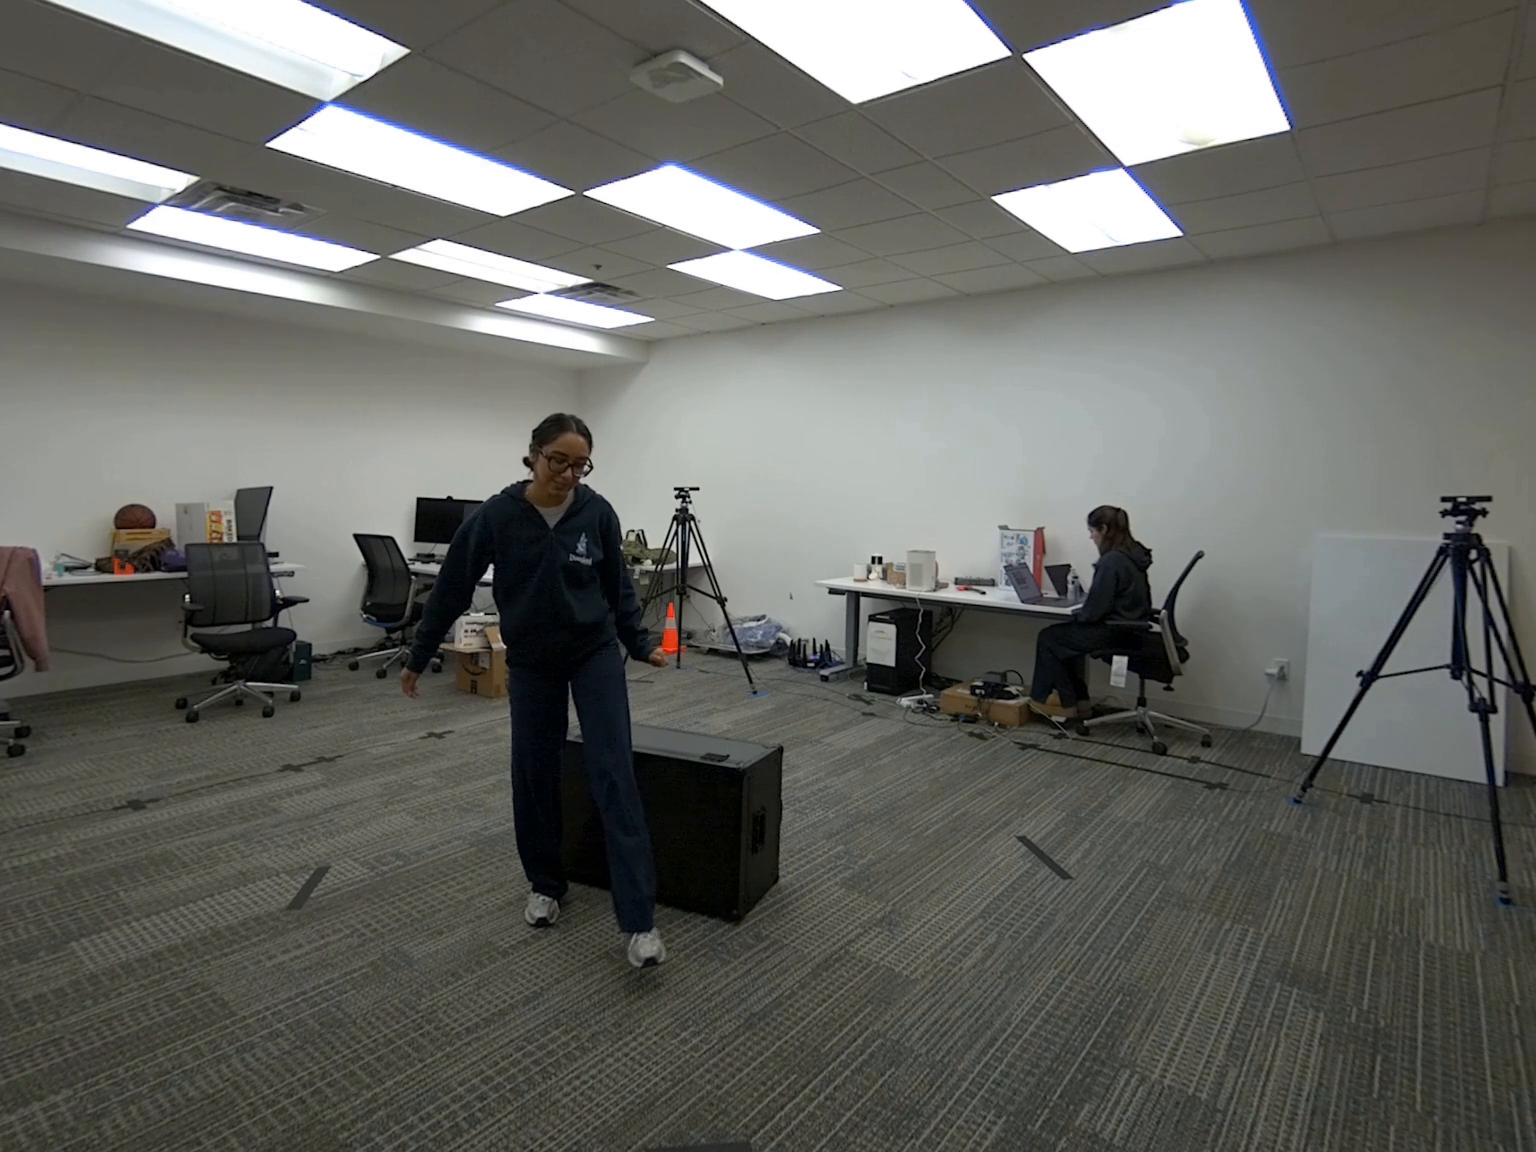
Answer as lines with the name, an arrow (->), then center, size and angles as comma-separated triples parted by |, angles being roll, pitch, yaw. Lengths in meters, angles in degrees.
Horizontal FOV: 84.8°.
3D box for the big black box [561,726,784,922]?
big black box -> -0.411, 0.812, 3.044 | 0.883, 0.521, 0.387 | 3, 2, 24
